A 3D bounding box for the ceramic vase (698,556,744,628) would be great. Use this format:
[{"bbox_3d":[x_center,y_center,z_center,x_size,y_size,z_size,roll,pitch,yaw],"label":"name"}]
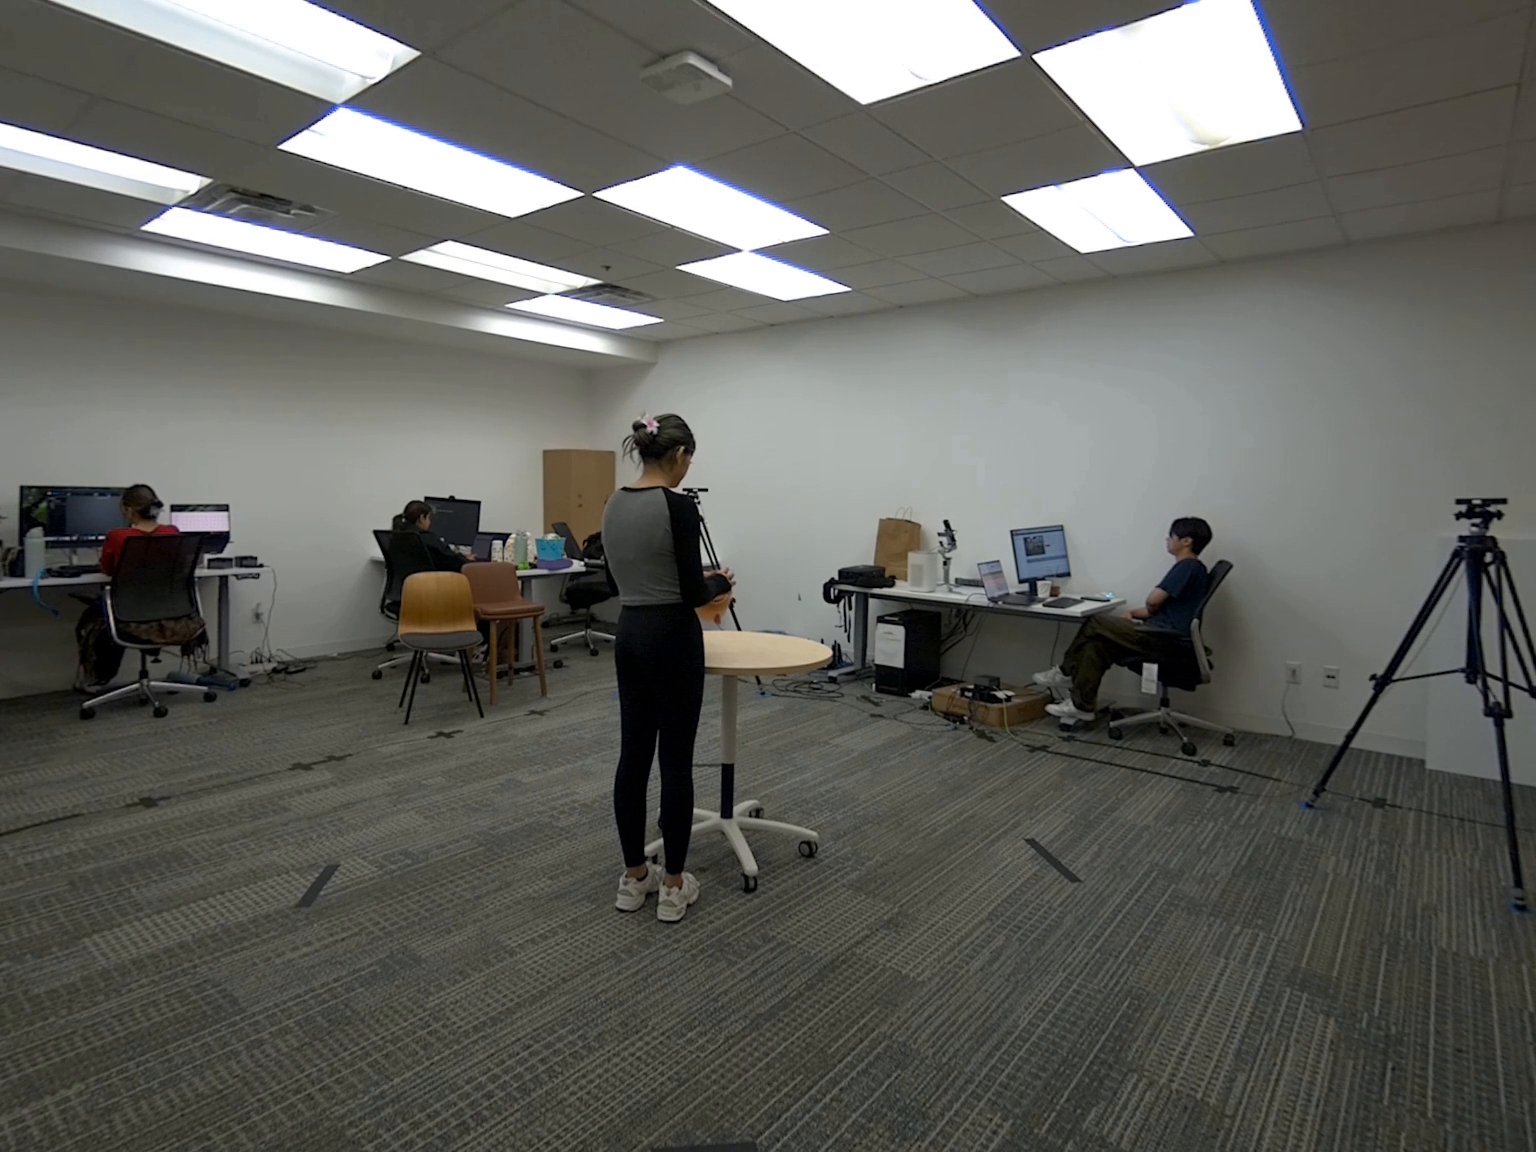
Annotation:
[{"bbox_3d":[-0.206,0.060,3.094,0.161,0.135,0.216,32,-23,7],"label":"ceramic vase"}]
